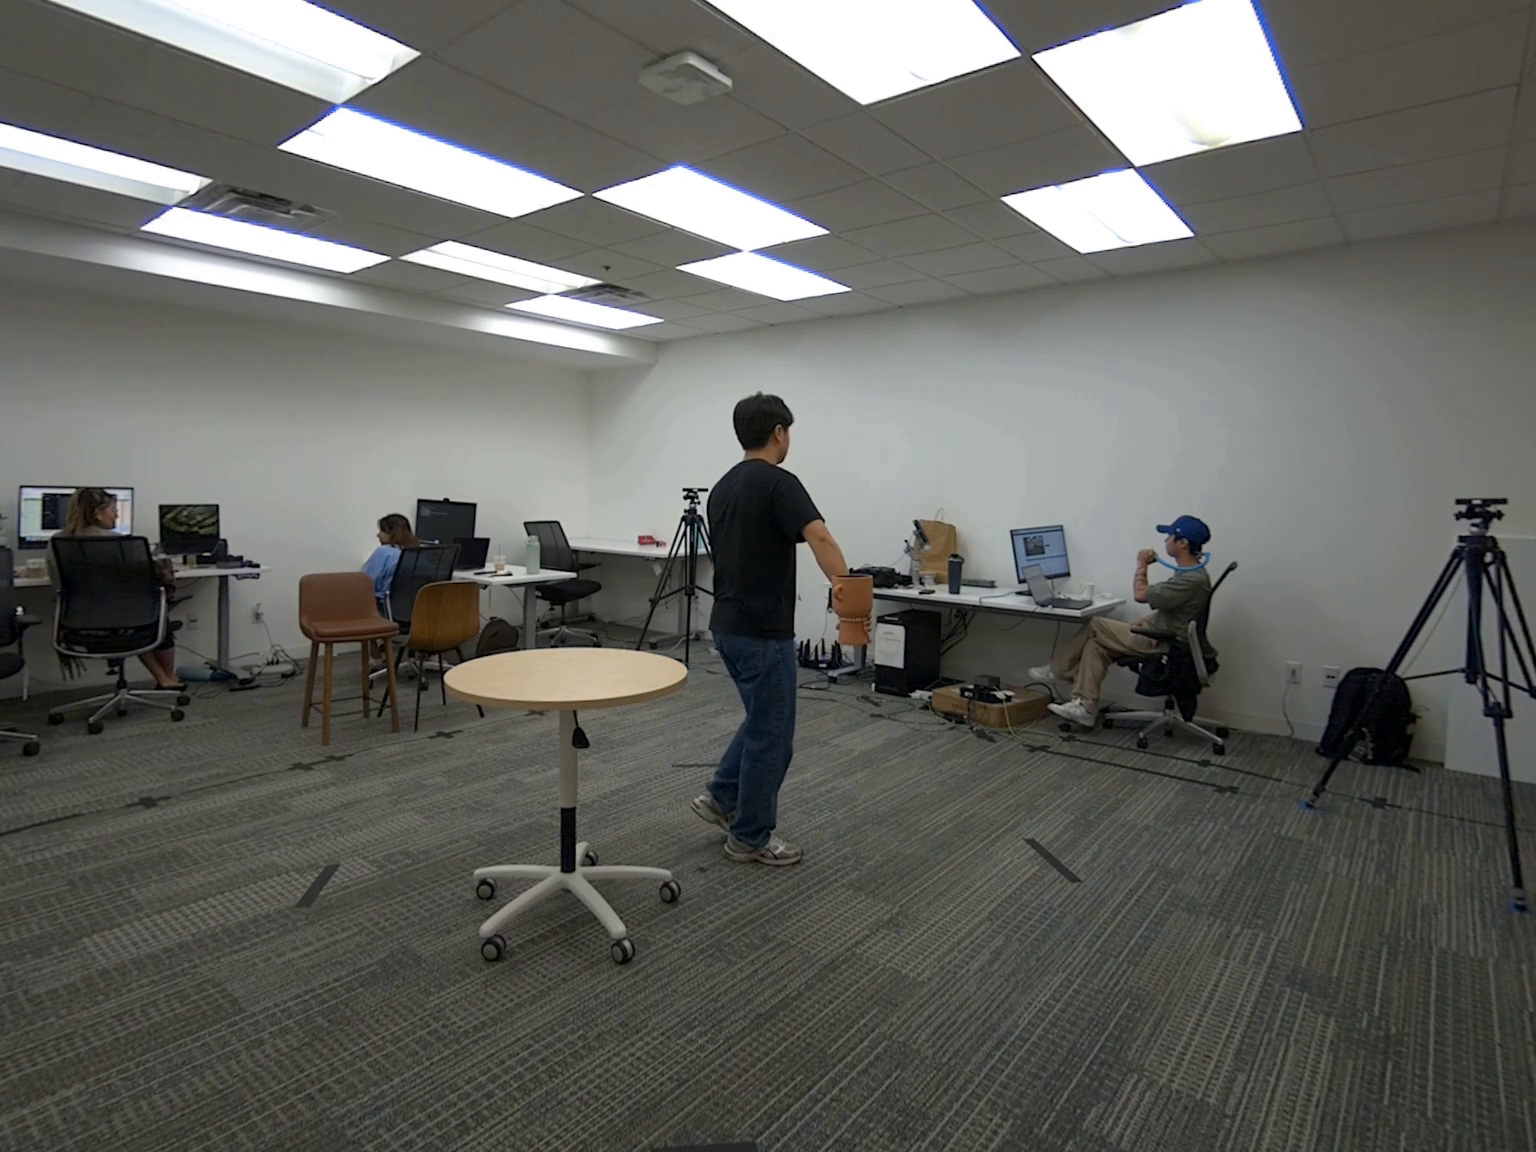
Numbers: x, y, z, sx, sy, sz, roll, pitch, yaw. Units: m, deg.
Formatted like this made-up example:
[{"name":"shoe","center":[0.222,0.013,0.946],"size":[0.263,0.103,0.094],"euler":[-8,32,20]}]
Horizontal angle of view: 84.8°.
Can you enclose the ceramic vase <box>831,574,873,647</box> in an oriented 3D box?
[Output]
[{"name":"ceramic vase","center":[0.271,0.102,2.790],"size":[0.157,0.219,0.136],"euler":[-1,2,-8]}]
